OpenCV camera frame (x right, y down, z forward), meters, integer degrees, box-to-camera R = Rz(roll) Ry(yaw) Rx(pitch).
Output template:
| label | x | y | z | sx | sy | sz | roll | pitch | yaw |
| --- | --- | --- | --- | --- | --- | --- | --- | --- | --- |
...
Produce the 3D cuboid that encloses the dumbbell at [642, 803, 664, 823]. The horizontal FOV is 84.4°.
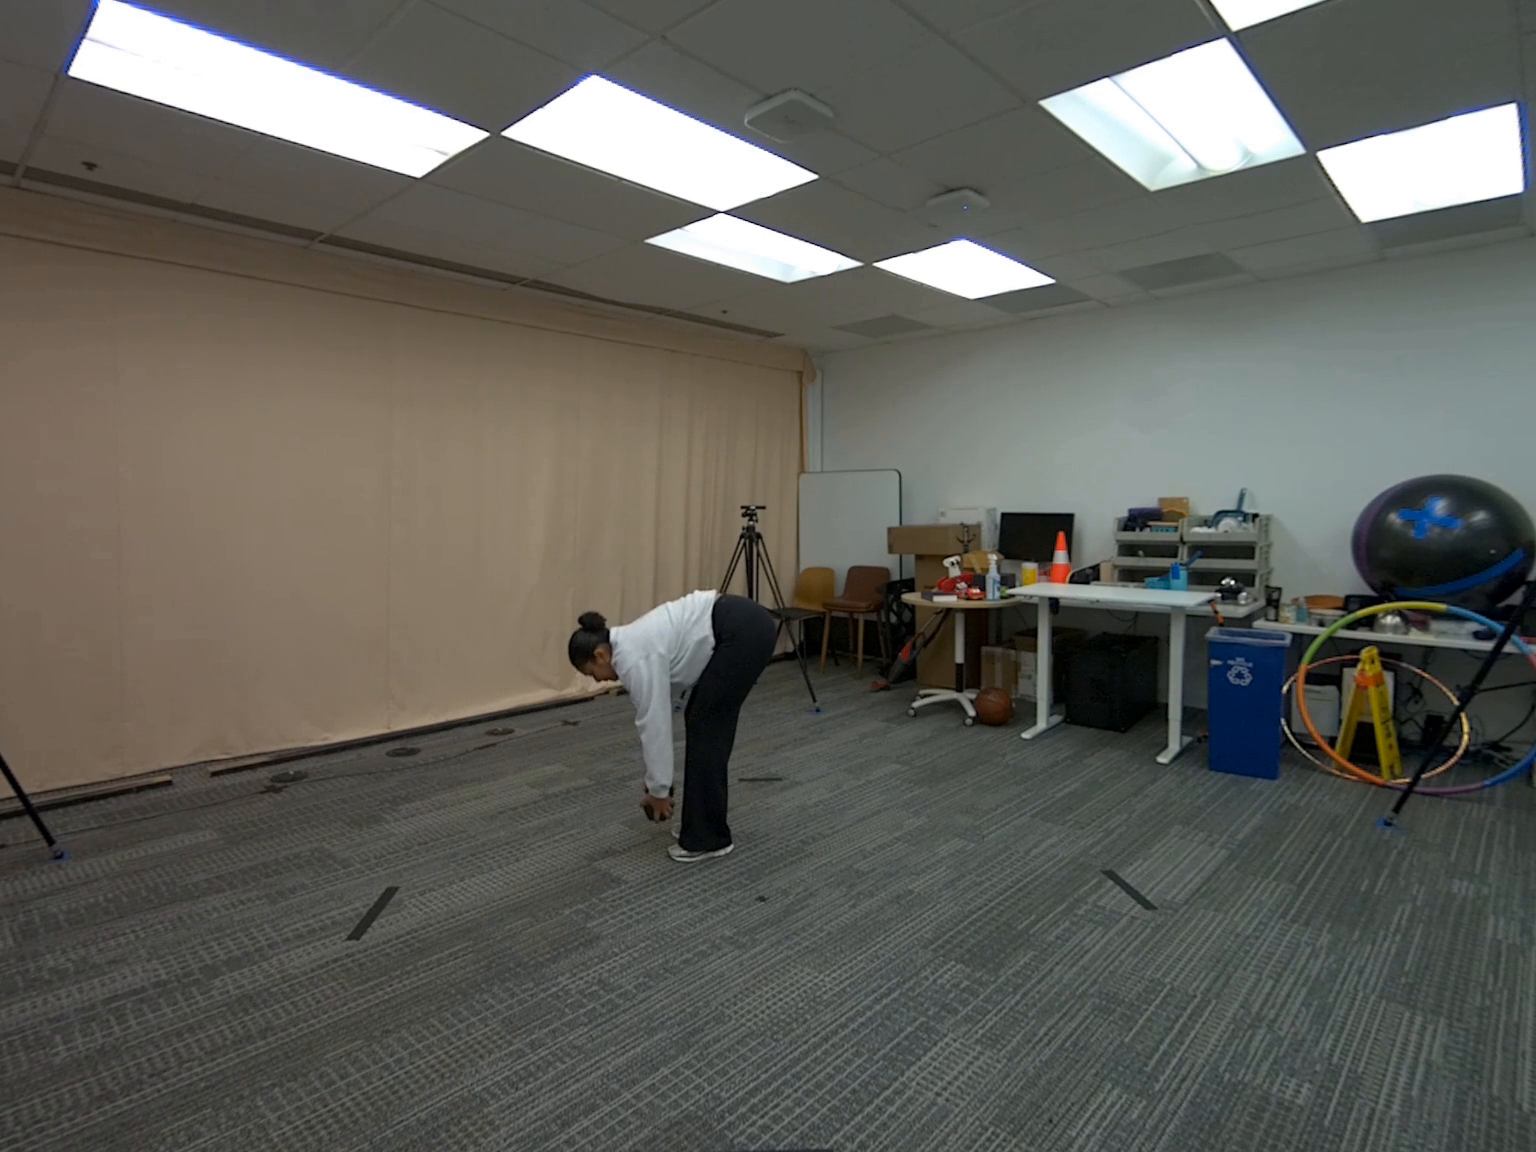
| label | x | y | z | sx | sy | sz | roll | pitch | yaw |
| --- | --- | --- | --- | --- | --- | --- | --- | --- | --- |
| dumbbell | -0.434 | 0.907 | 3.428 | 0.108 | 0.122 | 0.298 | -25 | 8 | -11 |
